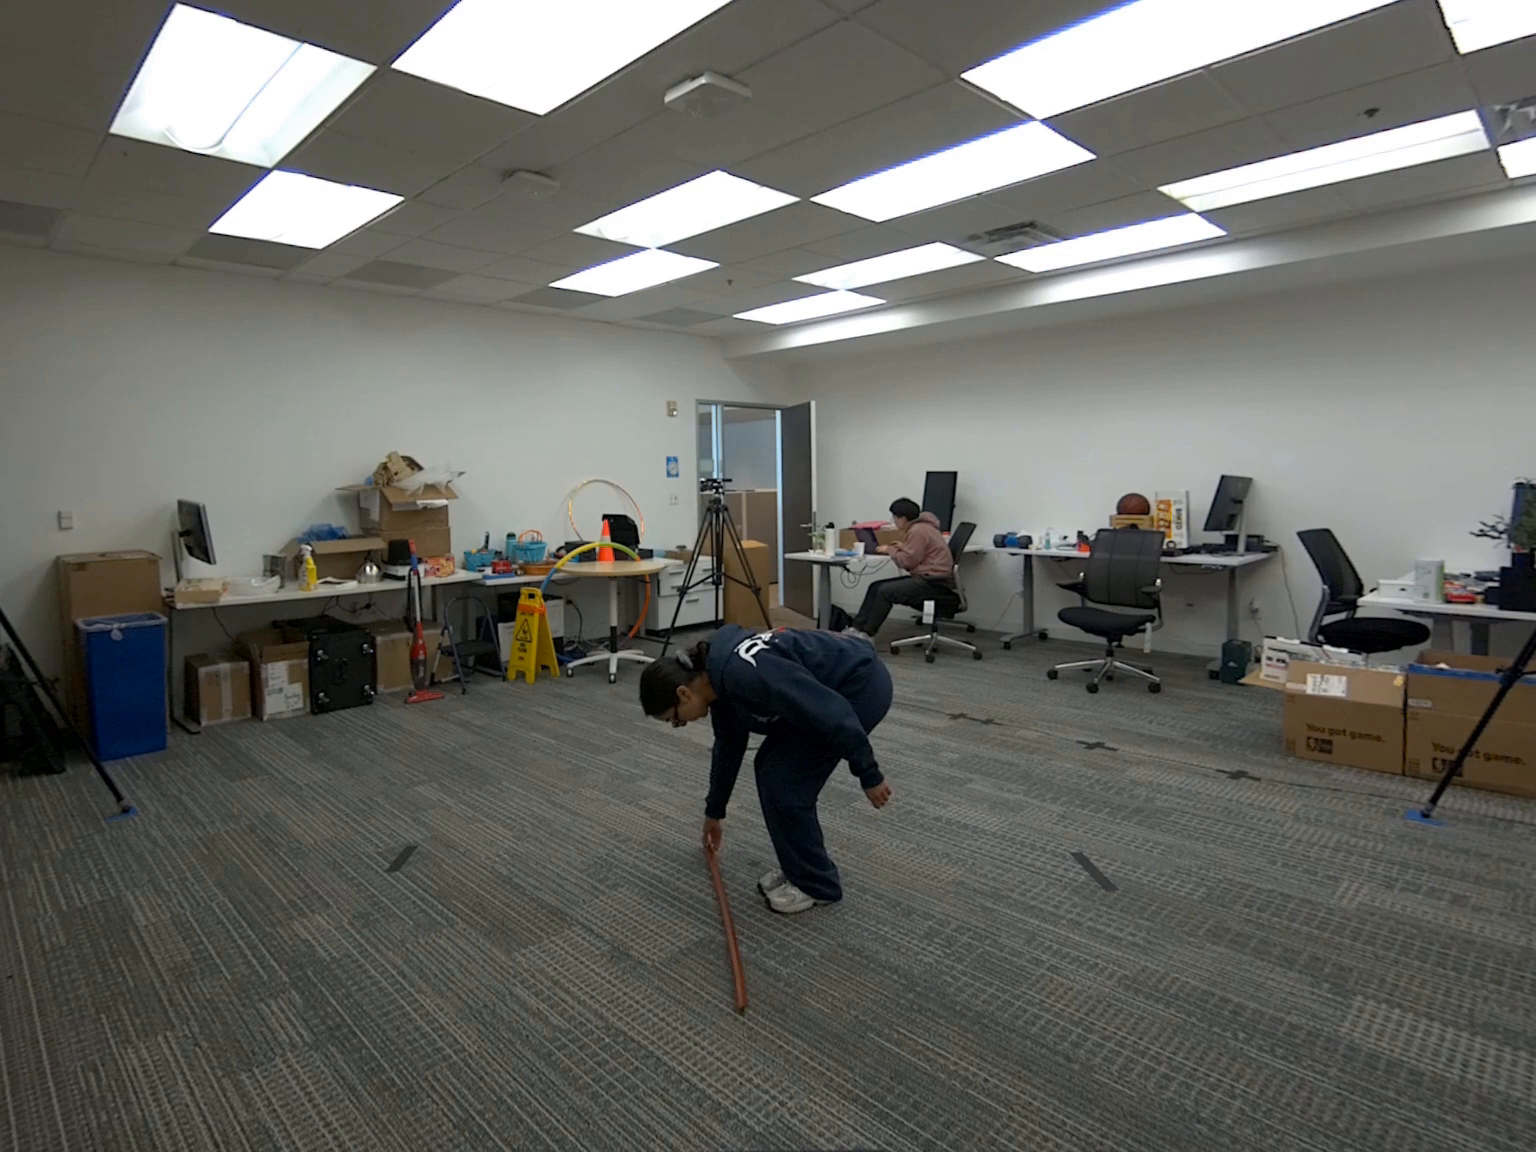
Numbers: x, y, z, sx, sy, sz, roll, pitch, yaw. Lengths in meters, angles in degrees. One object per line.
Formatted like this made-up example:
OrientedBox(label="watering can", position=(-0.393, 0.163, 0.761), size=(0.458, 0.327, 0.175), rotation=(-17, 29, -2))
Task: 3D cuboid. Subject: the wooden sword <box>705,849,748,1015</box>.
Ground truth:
OrientedBox(label="wooden sword", position=(-0.146, 1.063, 2.733), size=(0.051, 0.024, 1.039), rotation=(-25, 11, -5))
